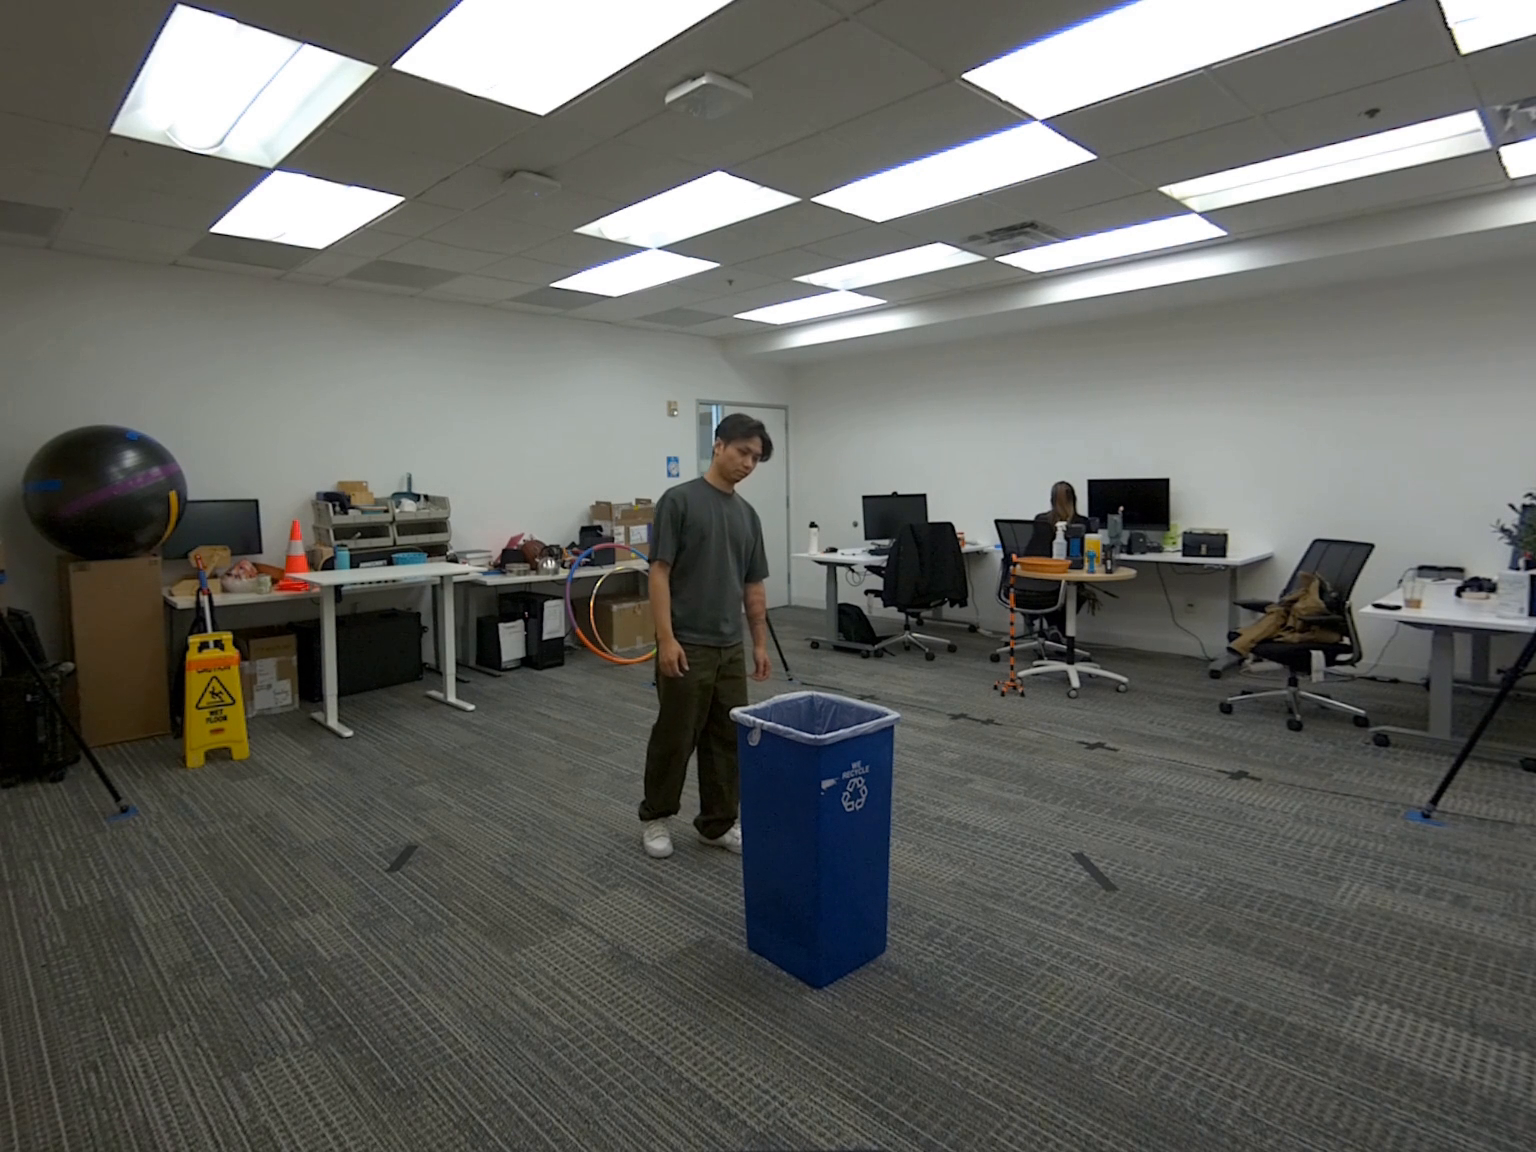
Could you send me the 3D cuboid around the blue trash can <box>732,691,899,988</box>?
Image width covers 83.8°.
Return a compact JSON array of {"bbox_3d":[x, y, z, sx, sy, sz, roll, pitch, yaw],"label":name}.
[{"bbox_3d":[0.147,0.750,2.520,0.364,0.711,0.390,-5,6,-42],"label":"blue trash can"}]
